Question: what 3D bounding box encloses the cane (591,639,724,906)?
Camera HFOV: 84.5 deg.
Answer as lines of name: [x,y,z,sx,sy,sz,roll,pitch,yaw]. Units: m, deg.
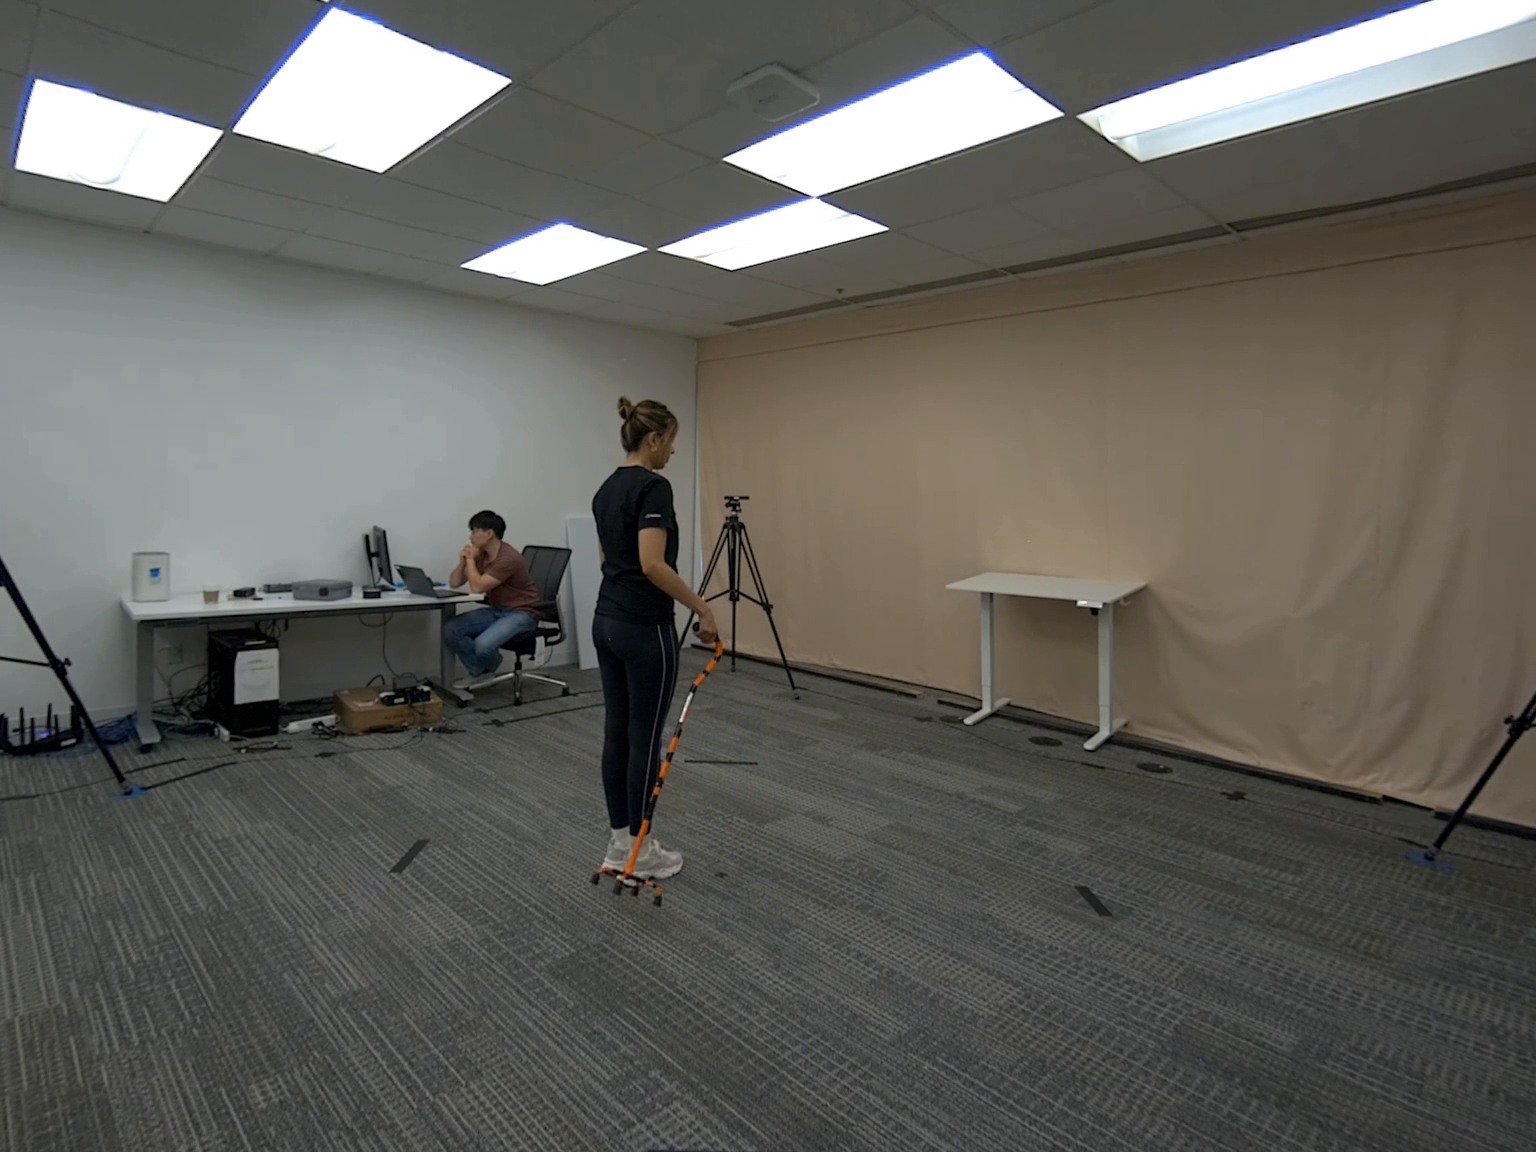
cane: [-0.316,0.620,2.852,0.155,0.915,0.200,-2,-27,46]
